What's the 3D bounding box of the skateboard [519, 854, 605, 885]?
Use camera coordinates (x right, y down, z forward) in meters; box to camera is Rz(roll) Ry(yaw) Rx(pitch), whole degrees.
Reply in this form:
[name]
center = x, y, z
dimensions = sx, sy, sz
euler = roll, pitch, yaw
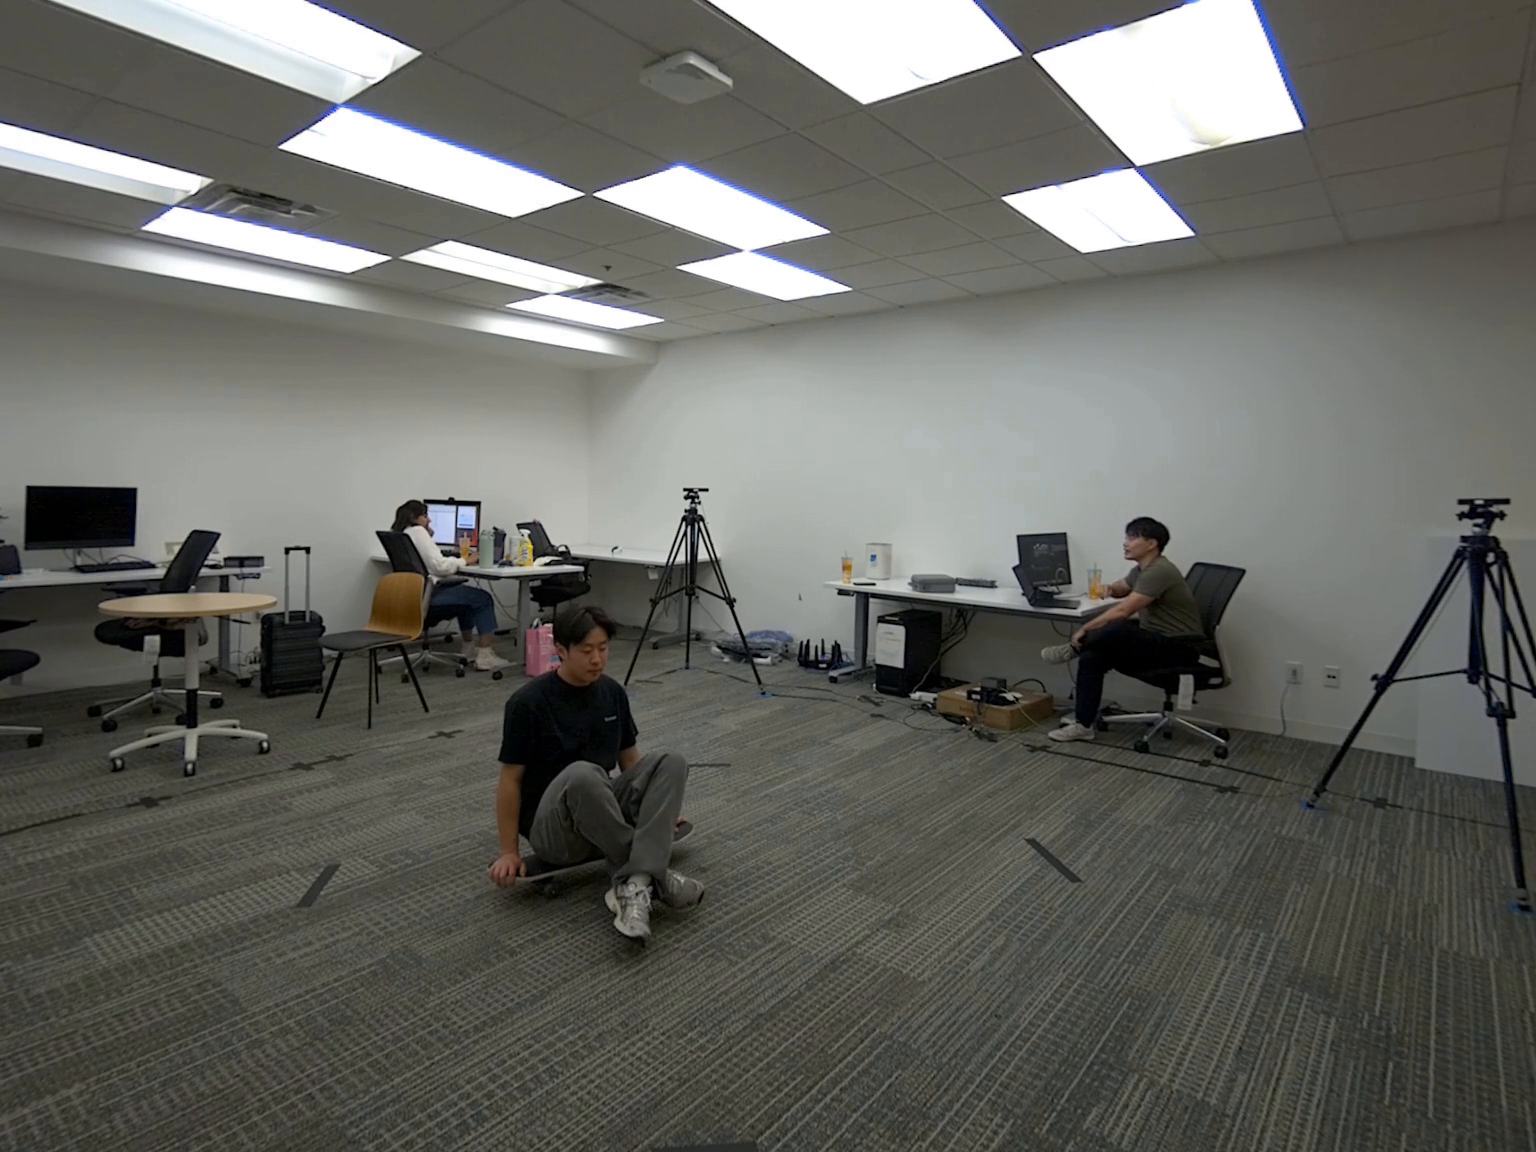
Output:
[skateboard]
center = -0.623, 1.018, 3.046
dimensions = 0.764, 0.110, 0.199
euler = -3, 4, -33
